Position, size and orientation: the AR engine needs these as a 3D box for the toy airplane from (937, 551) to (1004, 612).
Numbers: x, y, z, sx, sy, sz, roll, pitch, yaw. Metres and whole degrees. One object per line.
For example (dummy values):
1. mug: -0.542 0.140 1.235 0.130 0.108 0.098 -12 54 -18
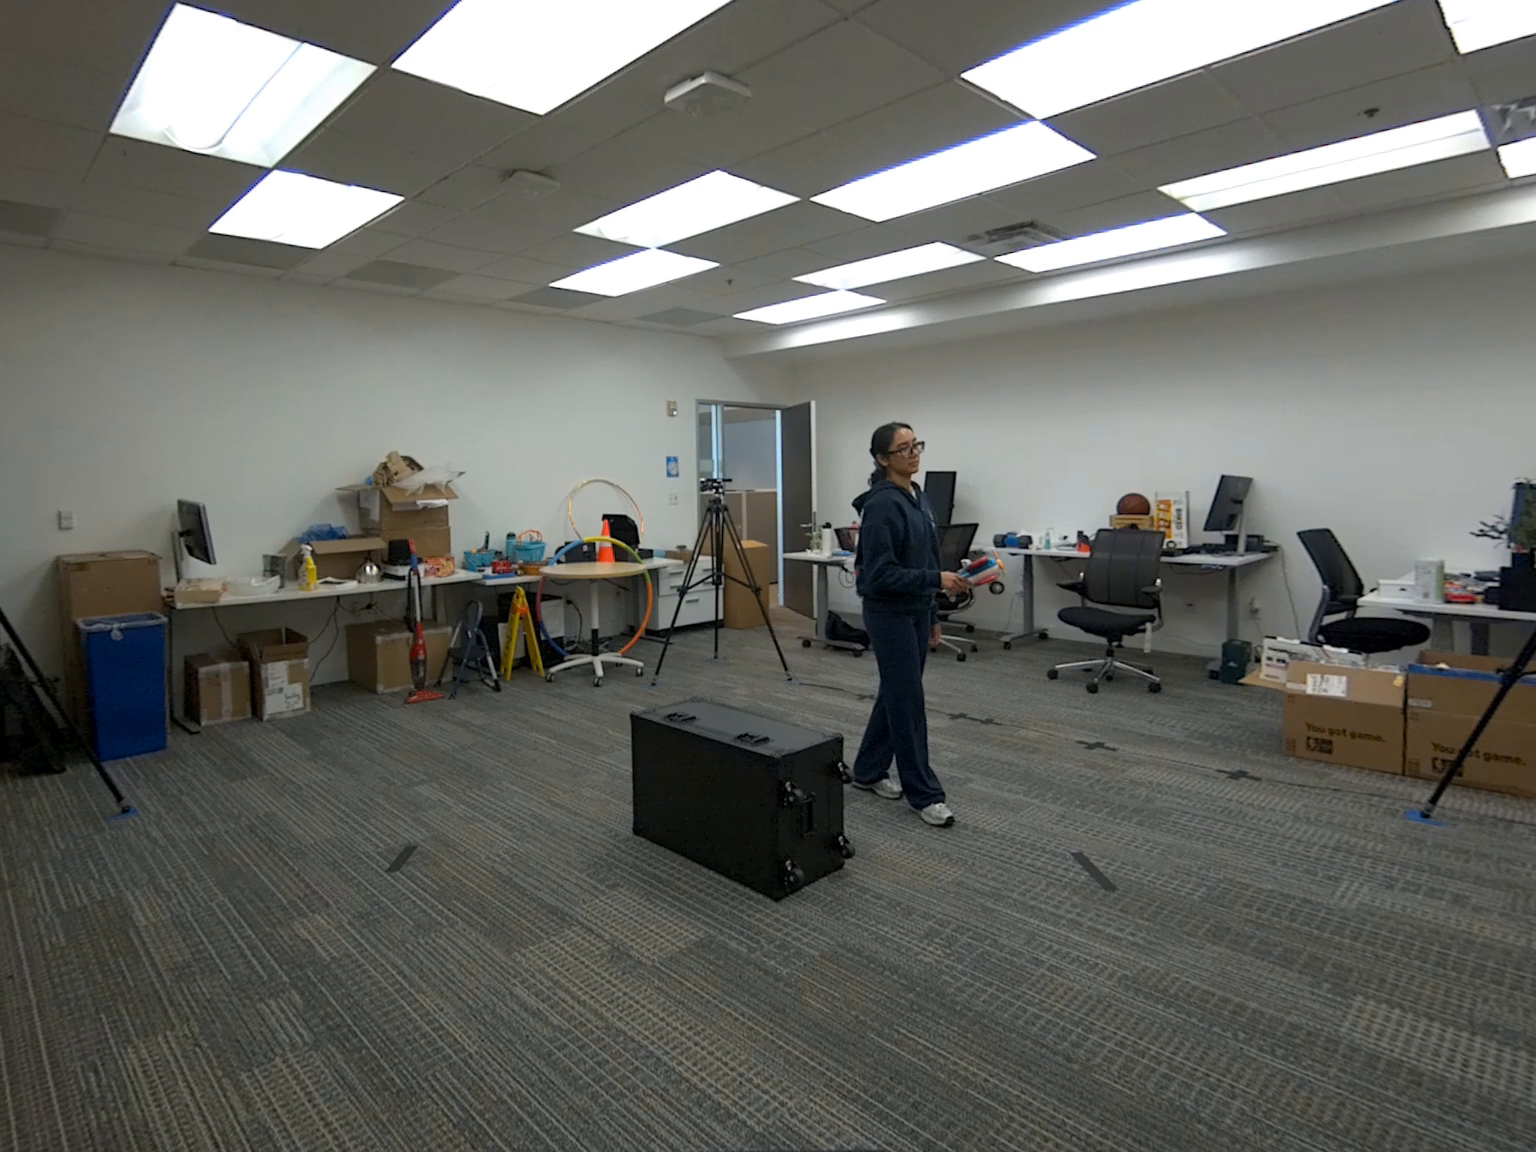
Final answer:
1. toy airplane: 0.809 0.020 3.381 0.256 0.157 0.252 -9 -6 -14
